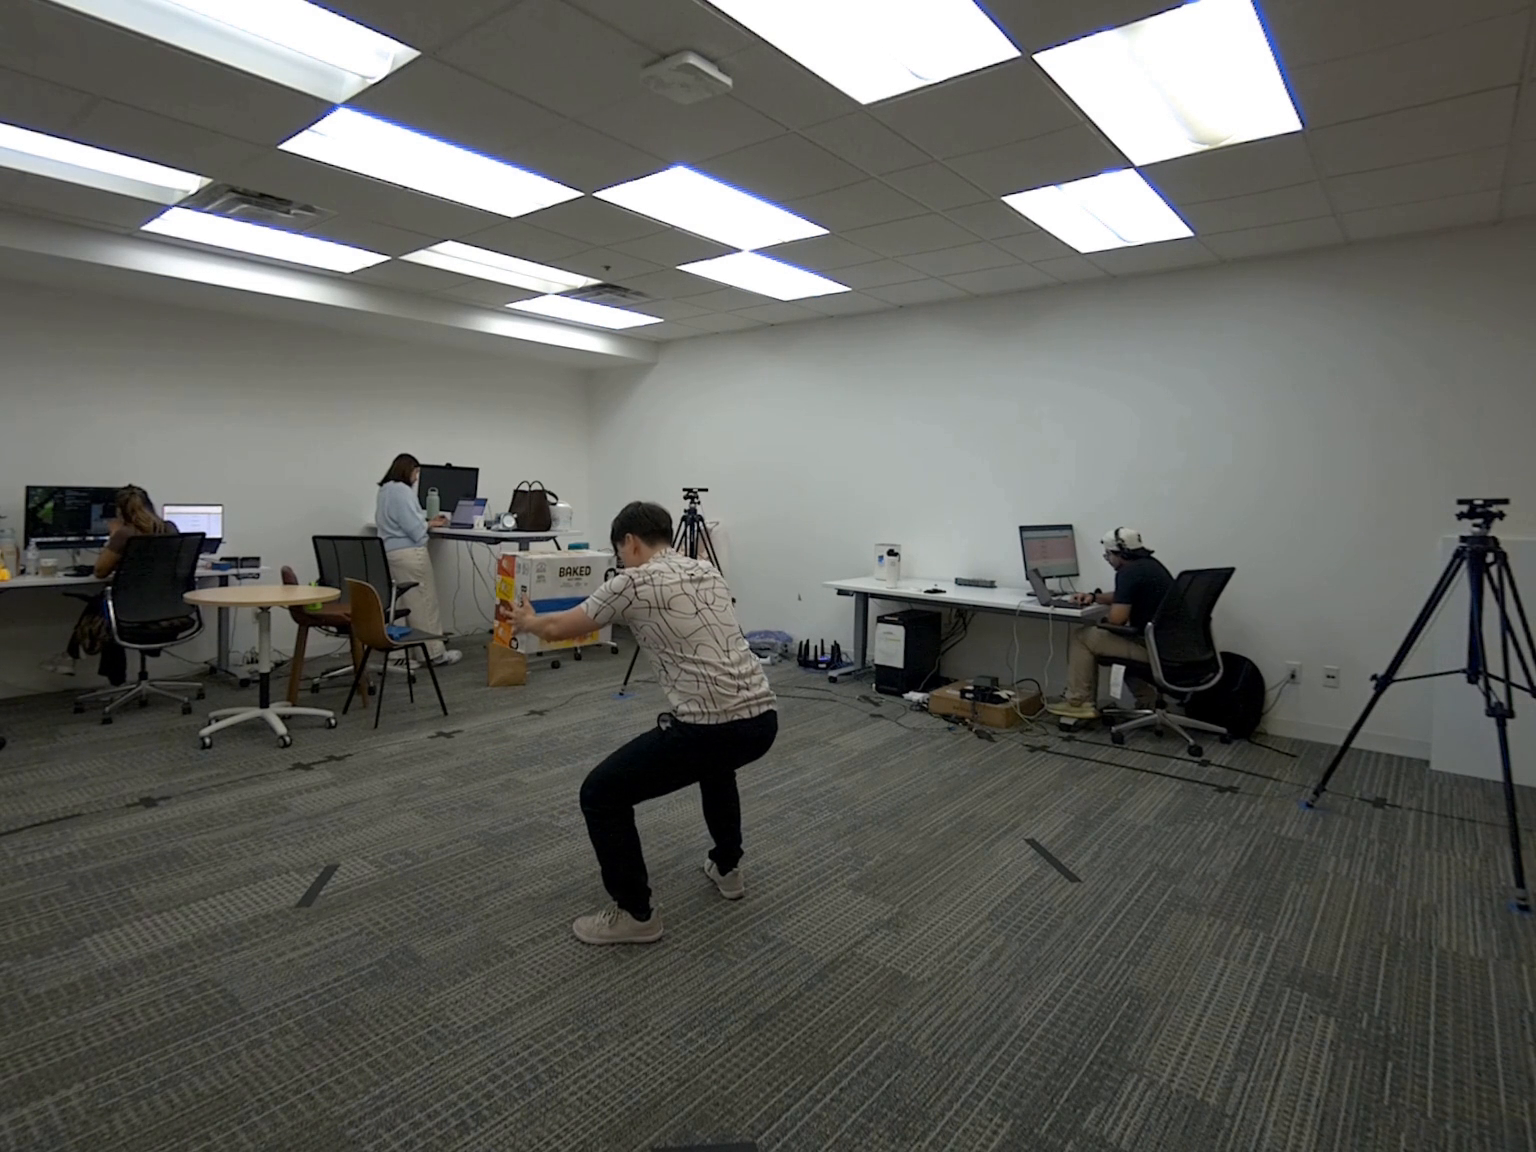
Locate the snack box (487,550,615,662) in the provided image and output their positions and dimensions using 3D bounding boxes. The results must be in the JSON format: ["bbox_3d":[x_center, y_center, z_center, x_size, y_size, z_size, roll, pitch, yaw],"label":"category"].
[{"bbox_3d":[-0.810,0.082,3.206,0.213,0.339,0.393,9,7,39],"label":"snack box"}]
